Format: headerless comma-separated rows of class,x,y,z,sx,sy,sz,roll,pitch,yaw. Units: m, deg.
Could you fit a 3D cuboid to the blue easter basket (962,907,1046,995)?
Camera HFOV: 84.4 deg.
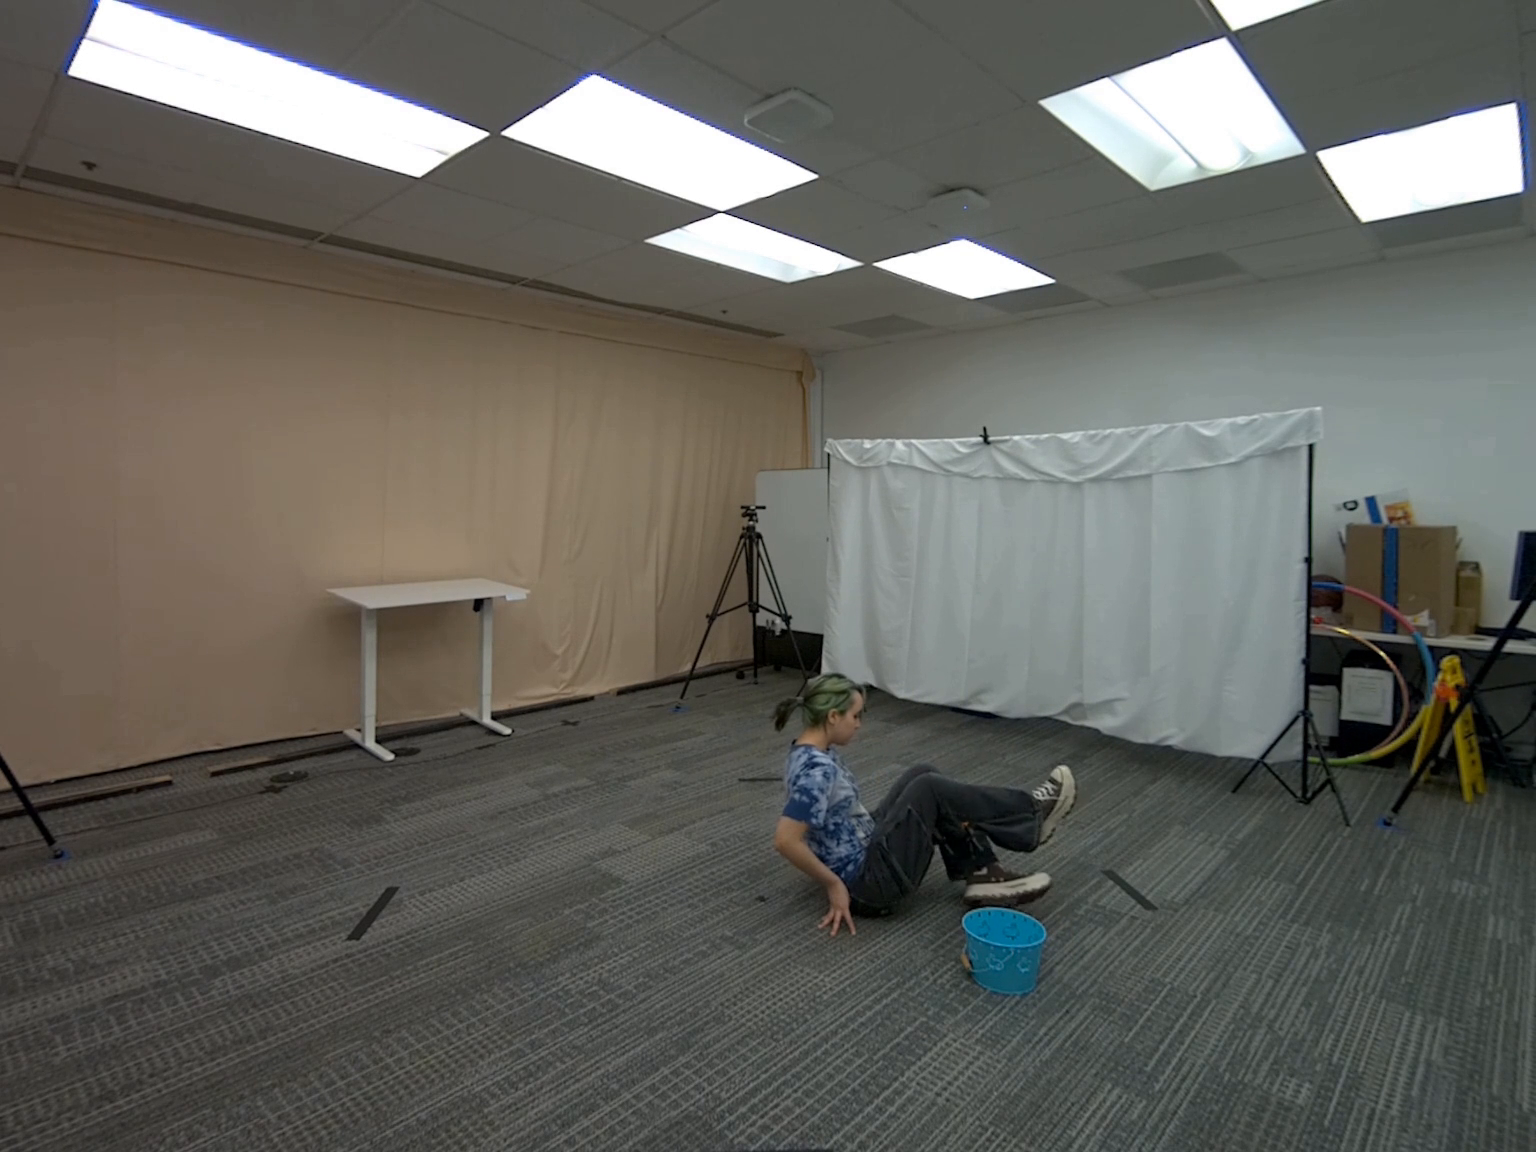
blue easter basket,0.692,1.098,2.483,0.243,0.155,0.244,0,5,-2
